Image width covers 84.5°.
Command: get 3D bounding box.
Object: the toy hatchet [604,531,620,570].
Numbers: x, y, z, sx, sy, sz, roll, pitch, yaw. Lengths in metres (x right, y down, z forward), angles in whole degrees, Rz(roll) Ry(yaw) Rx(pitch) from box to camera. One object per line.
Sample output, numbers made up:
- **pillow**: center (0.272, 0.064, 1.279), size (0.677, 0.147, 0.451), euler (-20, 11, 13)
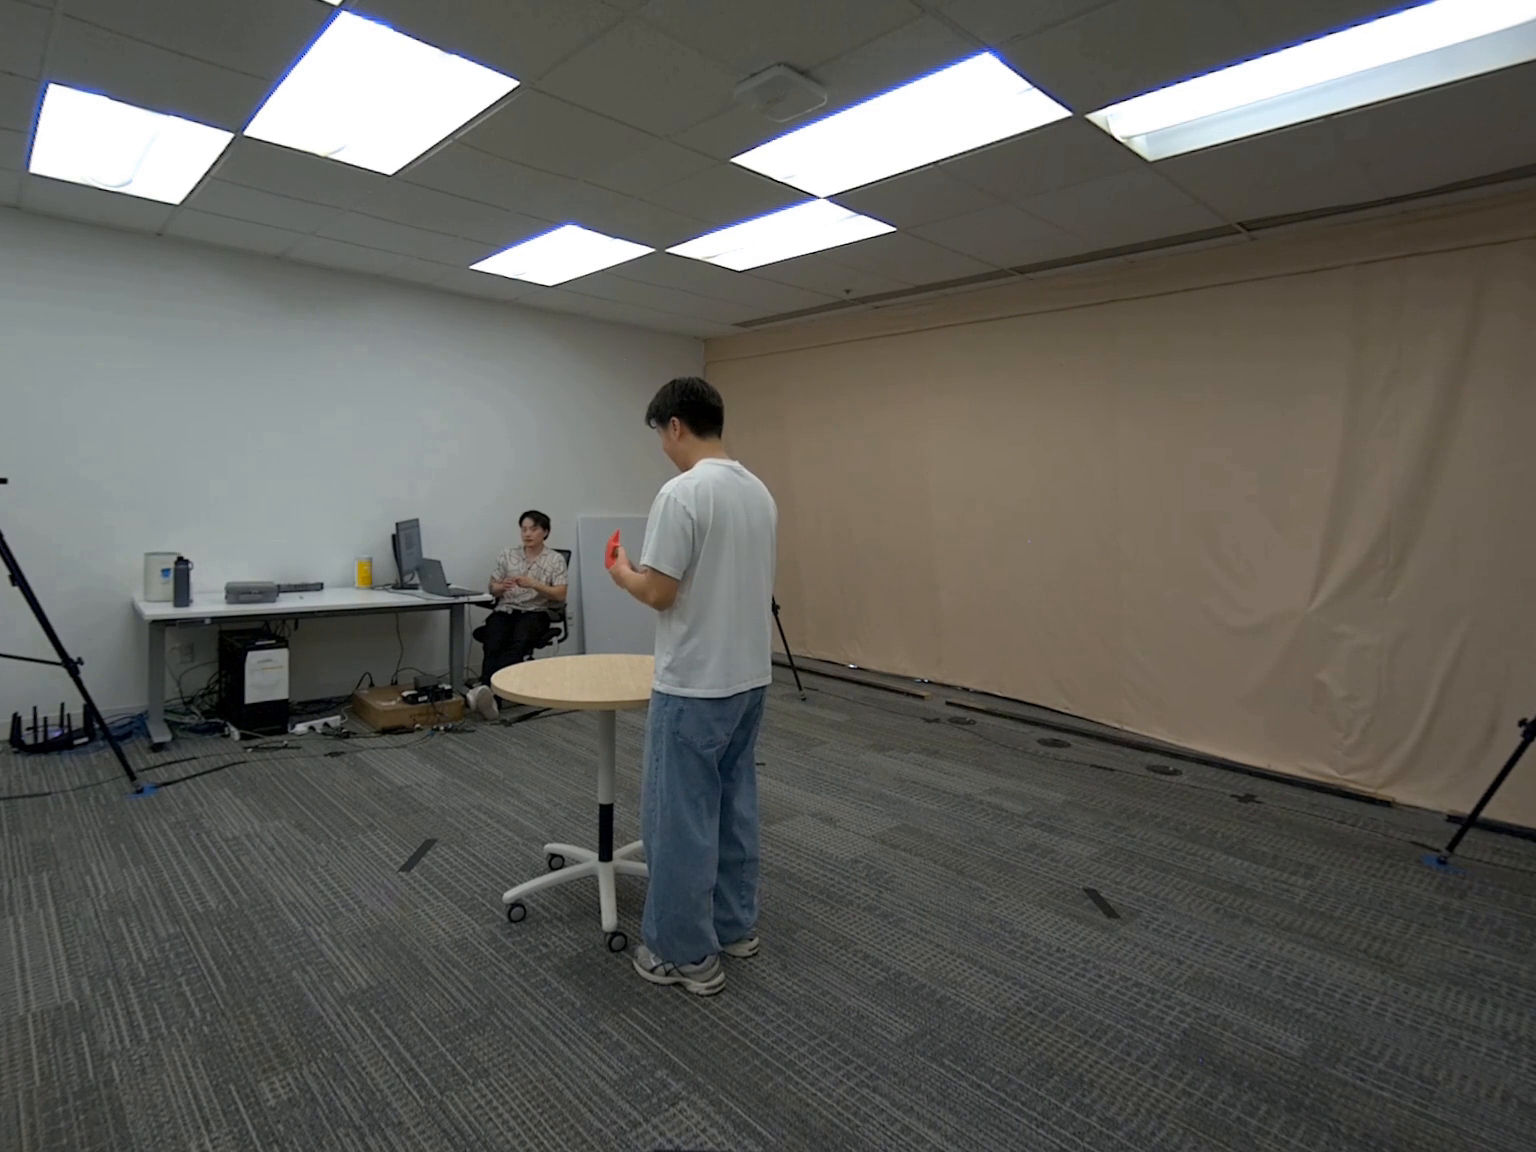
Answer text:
- **toy hatchet**: center (-0.438, 0.010, 2.626), size (0.029, 0.130, 0.278), euler (8, 37, -43)
